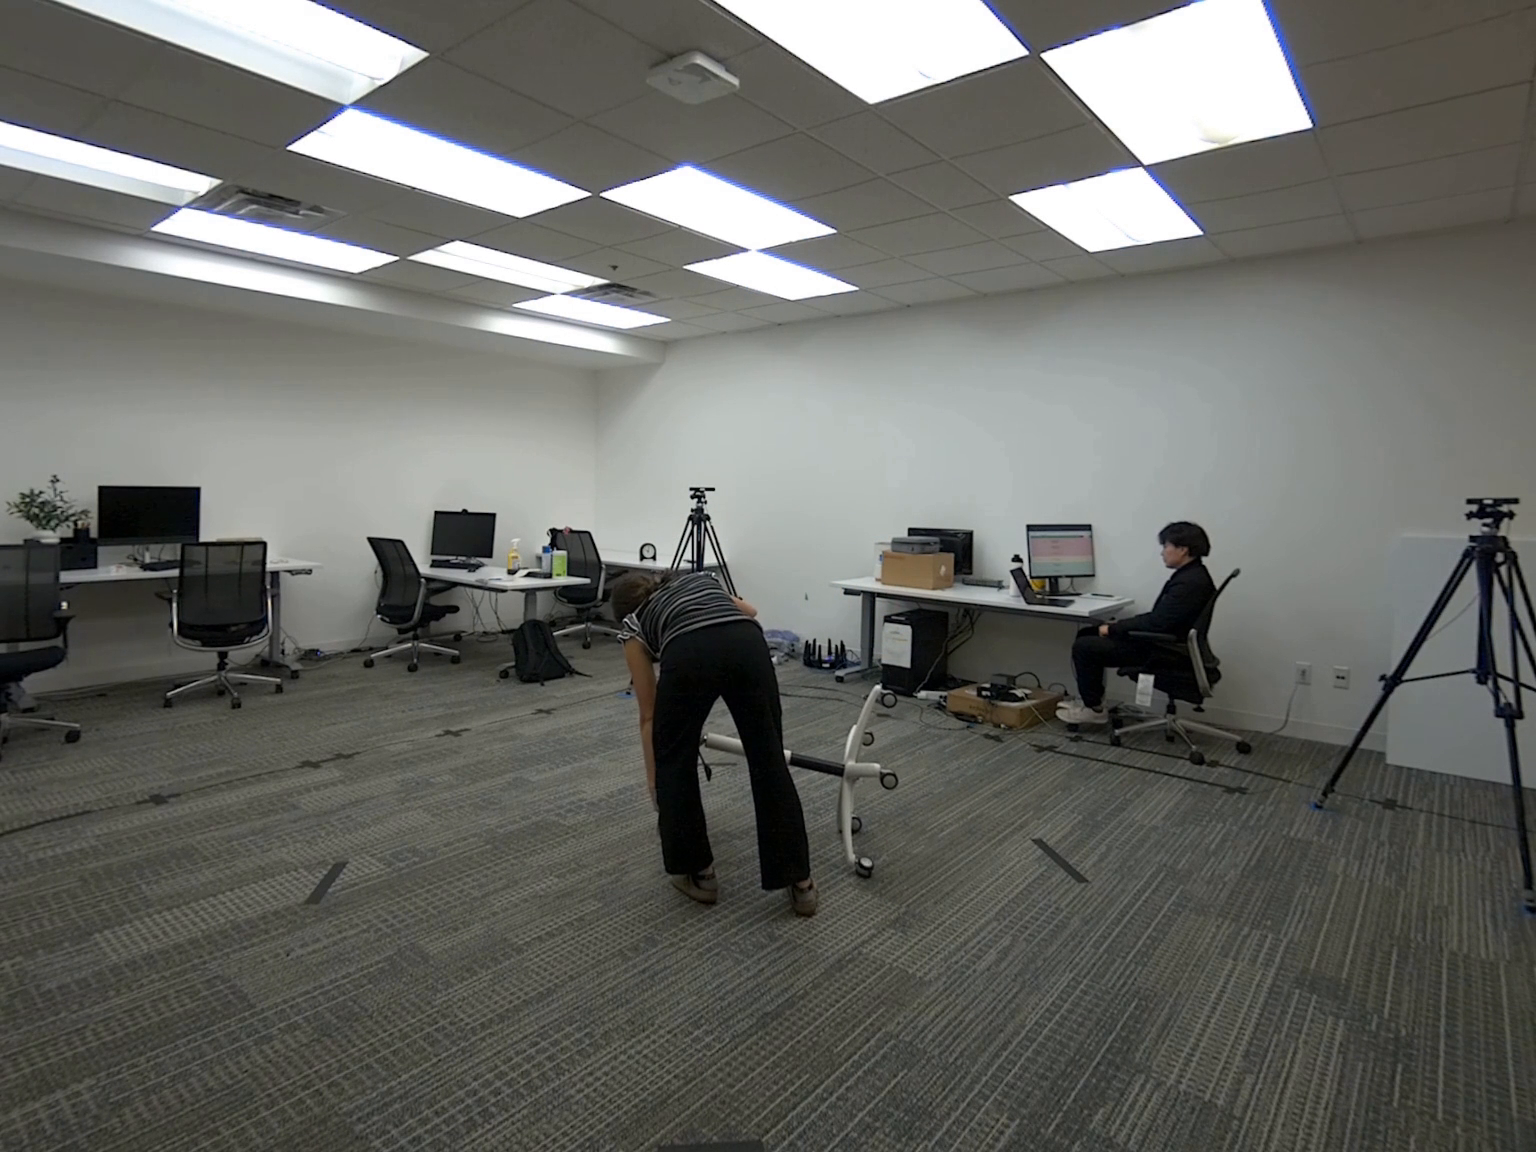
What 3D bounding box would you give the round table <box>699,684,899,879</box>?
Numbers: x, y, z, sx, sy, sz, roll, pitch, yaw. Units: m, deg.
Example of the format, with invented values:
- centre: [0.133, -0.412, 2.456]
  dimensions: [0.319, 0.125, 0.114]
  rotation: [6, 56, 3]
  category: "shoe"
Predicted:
- centre: [0.039, 0.703, 3.317]
  dimensions: [0.797, 0.762, 0.764]
  rotation: [11, 4, 1]
  category: "round table"
